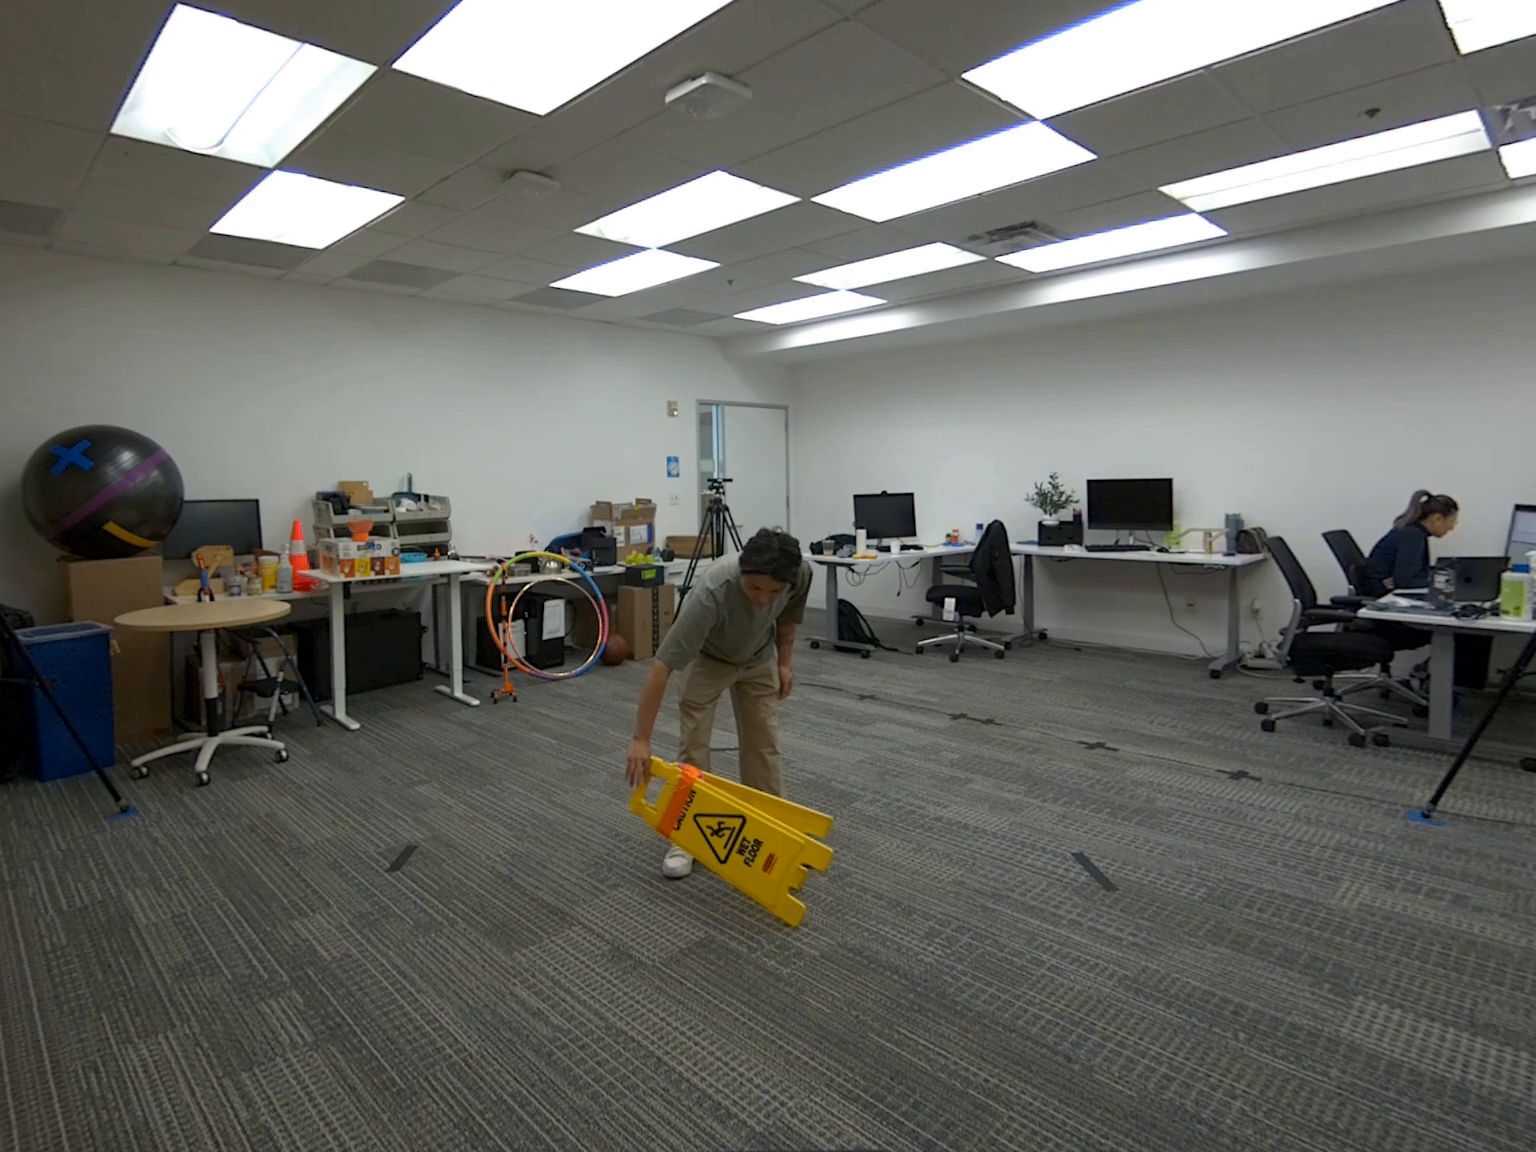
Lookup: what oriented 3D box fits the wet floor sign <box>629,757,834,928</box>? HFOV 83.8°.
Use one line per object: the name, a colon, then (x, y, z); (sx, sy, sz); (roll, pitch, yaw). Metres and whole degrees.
wet floor sign: (-0.129, 0.823, 2.806); (0.651, 0.281, 0.288); (26, 7, 5)
